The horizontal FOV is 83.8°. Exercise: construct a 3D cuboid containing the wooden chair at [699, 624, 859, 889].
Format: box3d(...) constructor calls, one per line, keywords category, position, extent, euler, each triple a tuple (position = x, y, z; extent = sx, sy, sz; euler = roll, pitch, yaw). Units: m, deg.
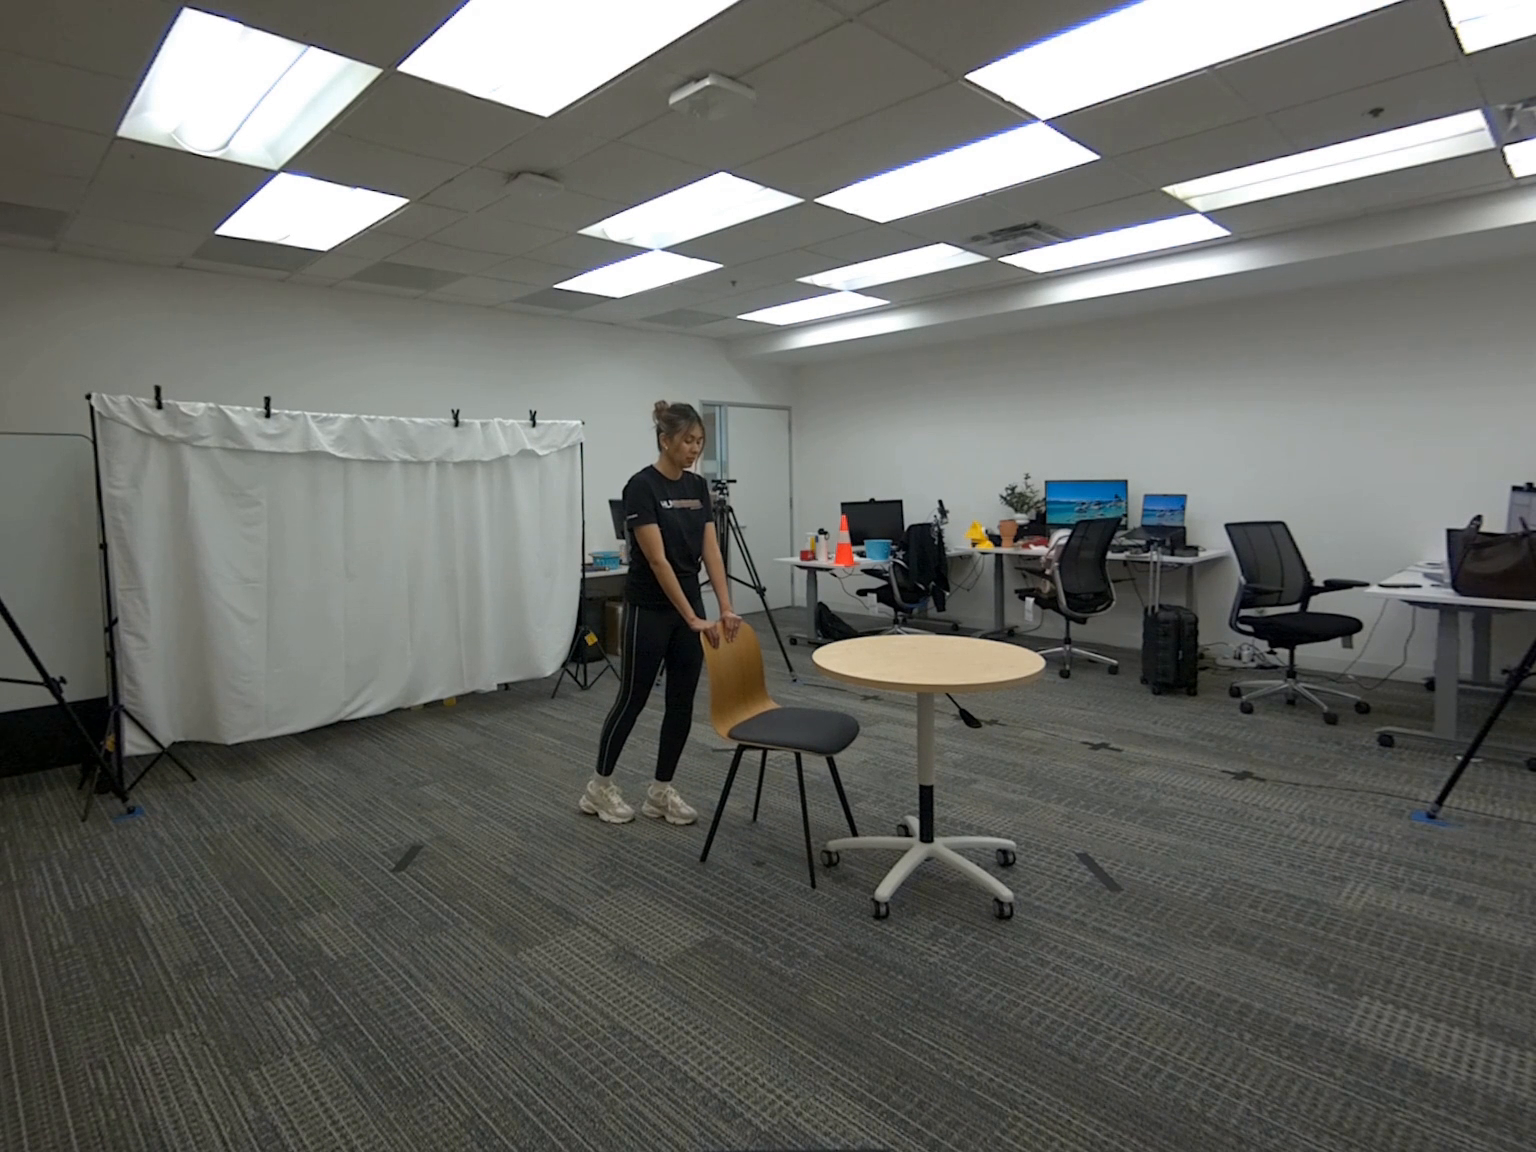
box3d(category="wooden chair", position=(0.053, 0.608, 3.178), extent=(0.535, 0.876, 0.468), euler=(-4, 2, 28))
